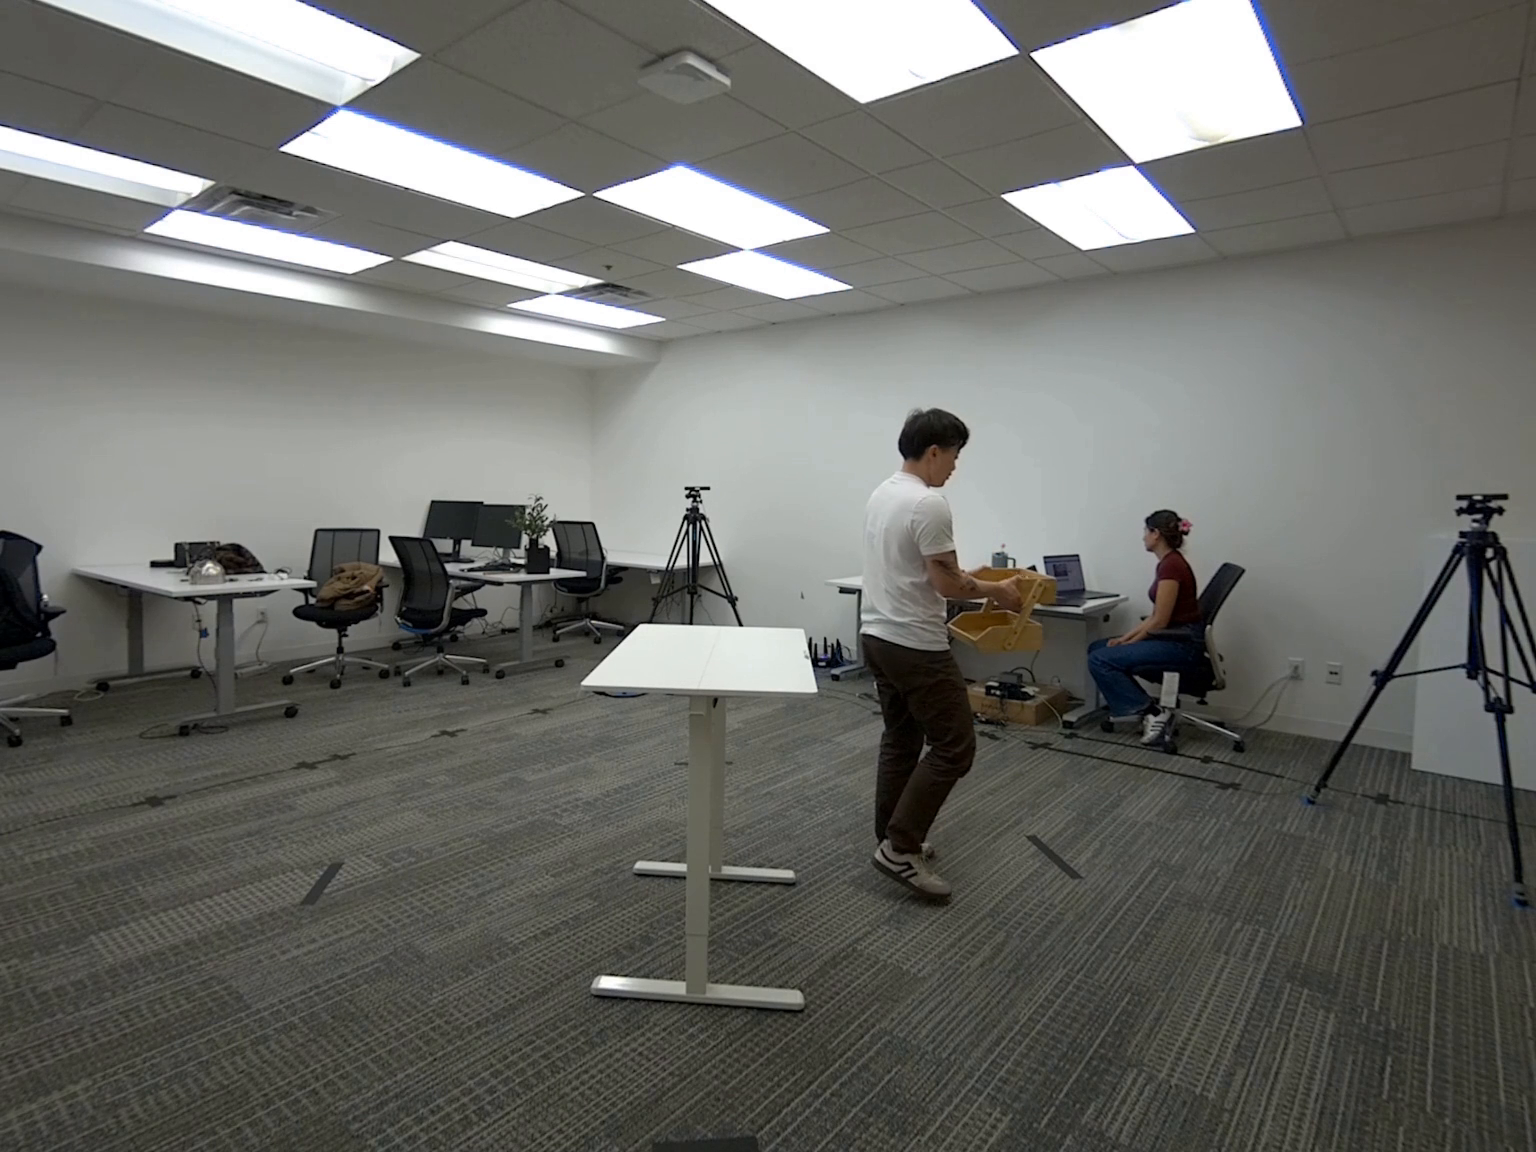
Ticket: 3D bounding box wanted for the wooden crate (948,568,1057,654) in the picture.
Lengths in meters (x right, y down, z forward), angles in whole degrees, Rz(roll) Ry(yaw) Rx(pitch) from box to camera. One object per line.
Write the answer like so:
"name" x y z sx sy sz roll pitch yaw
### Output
"wooden crate" 0.852 0.112 3.195 0.300 0.272 0.328 -2 7 -6
